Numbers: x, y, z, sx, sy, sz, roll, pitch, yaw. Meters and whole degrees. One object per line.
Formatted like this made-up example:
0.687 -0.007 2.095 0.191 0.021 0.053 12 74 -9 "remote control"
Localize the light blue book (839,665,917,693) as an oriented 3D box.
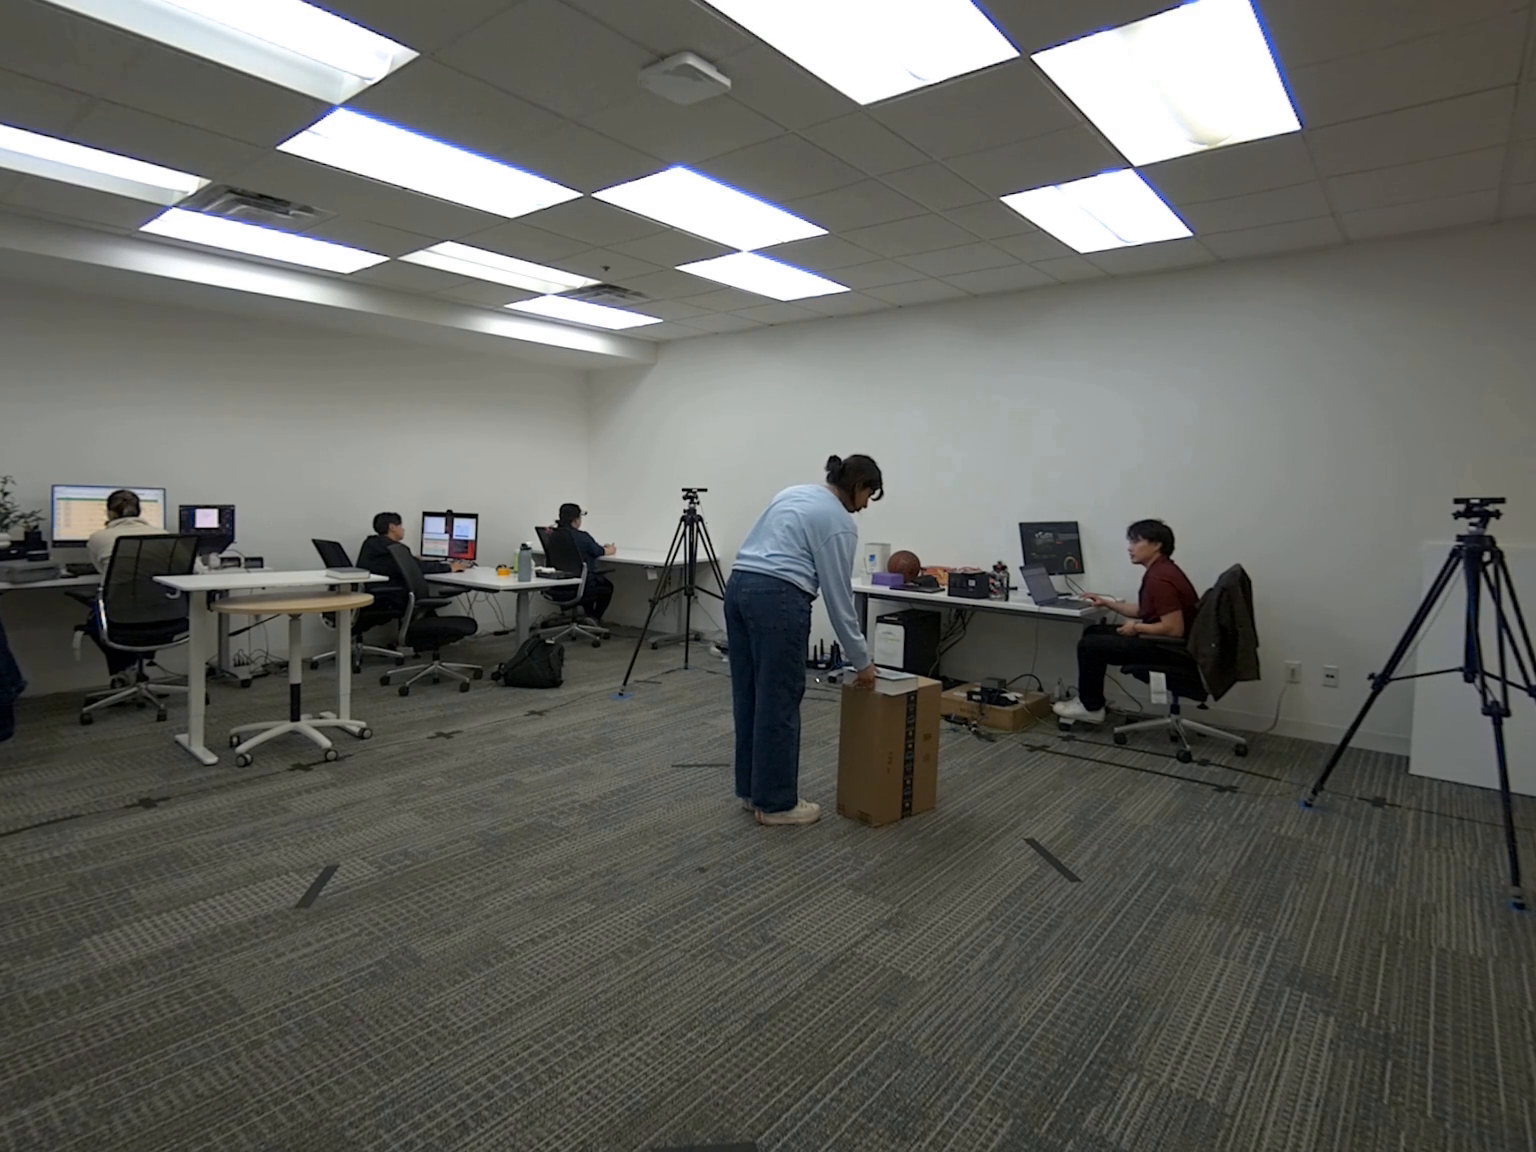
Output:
0.471 0.434 3.623 0.185 0.059 0.270 -1 6 -45 "light blue book"
